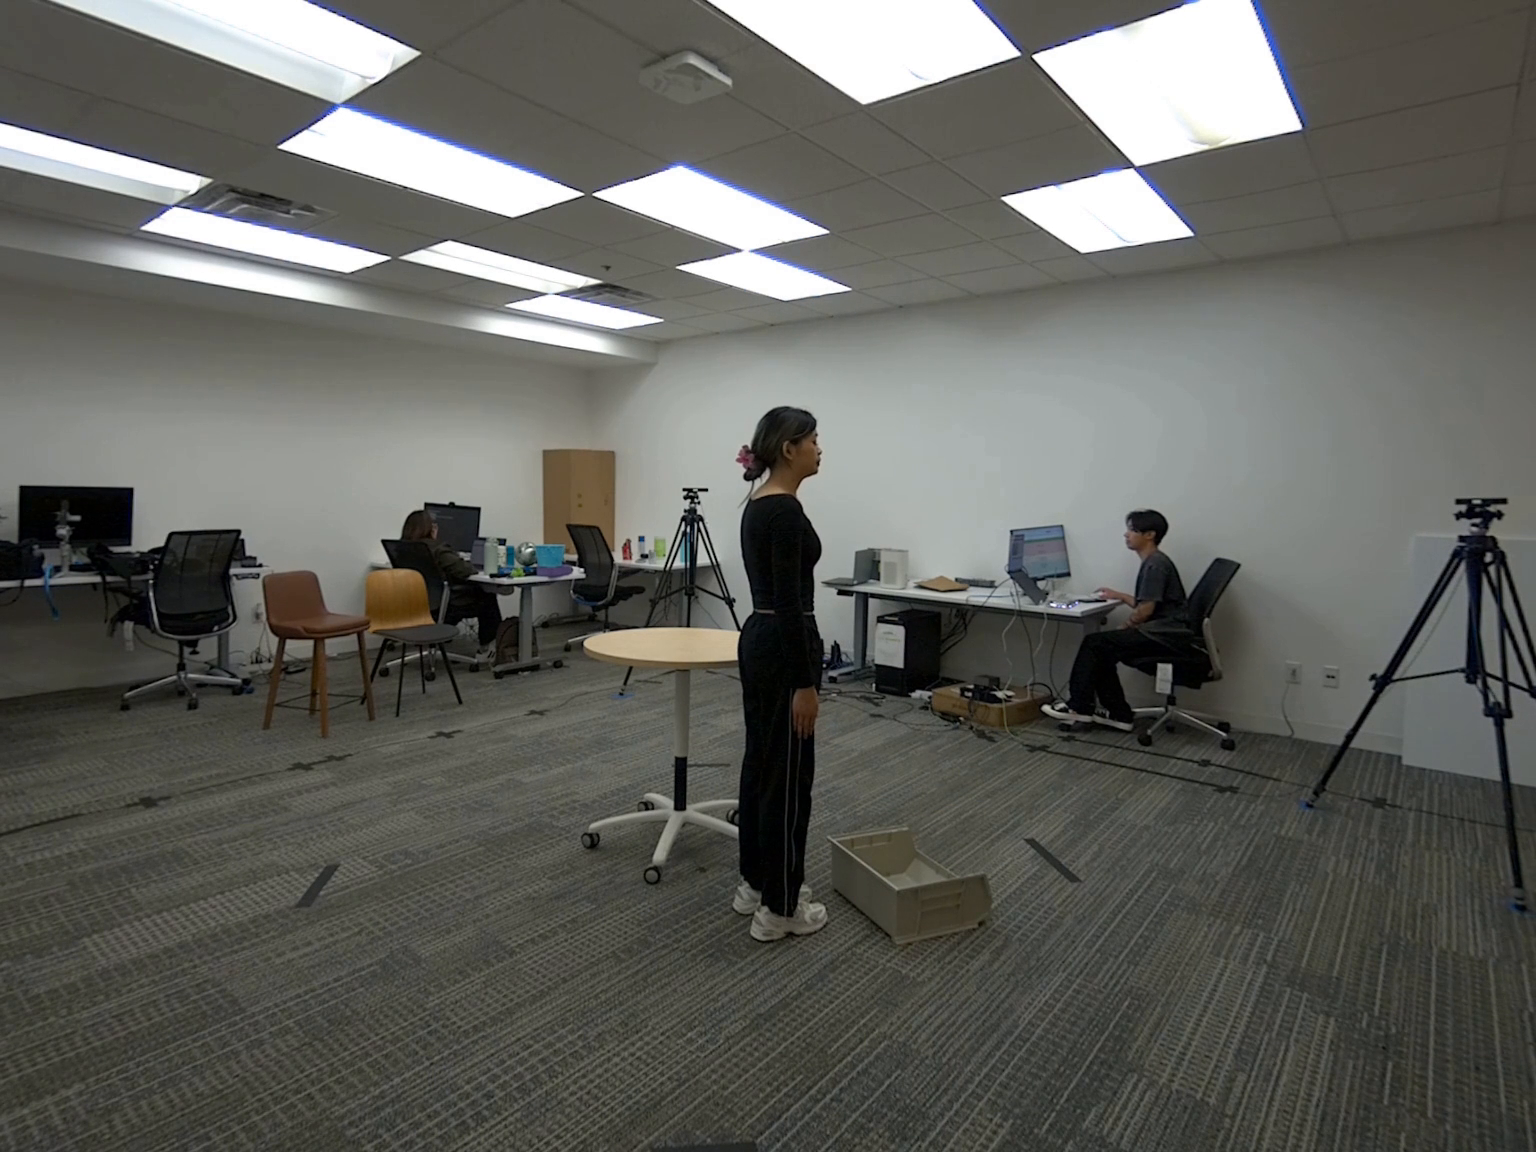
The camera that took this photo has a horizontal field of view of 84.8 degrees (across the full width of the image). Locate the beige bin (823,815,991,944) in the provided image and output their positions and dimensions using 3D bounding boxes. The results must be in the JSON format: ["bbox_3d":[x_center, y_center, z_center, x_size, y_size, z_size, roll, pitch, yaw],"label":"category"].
[{"bbox_3d":[0.460,1.012,2.862,0.369,0.188,0.434,-2,6,-24],"label":"beige bin"}]
